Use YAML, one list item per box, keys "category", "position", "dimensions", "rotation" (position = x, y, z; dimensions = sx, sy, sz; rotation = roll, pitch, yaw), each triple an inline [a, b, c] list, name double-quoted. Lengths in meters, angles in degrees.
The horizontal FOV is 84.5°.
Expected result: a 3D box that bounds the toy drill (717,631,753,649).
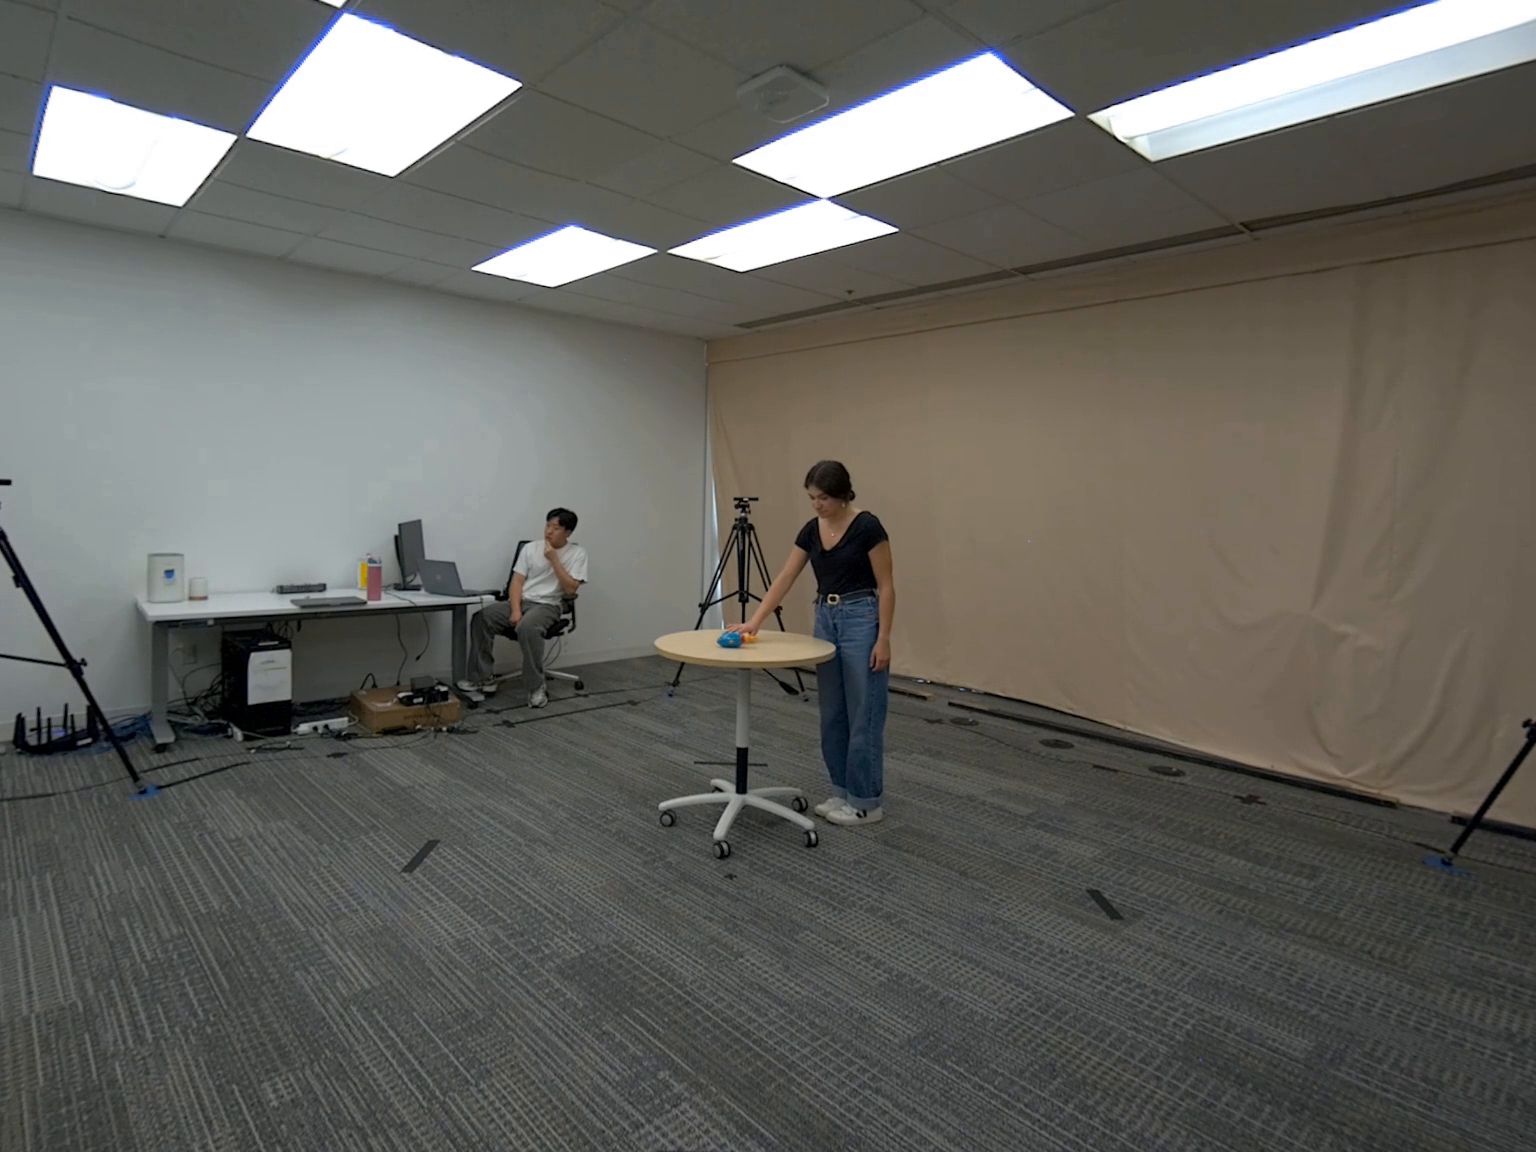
- category: "toy drill"
  position: [-0.132, 0.261, 3.501]
  dimensions: [0.170, 0.061, 0.146]
  rotation: [-6, 3, 4]
